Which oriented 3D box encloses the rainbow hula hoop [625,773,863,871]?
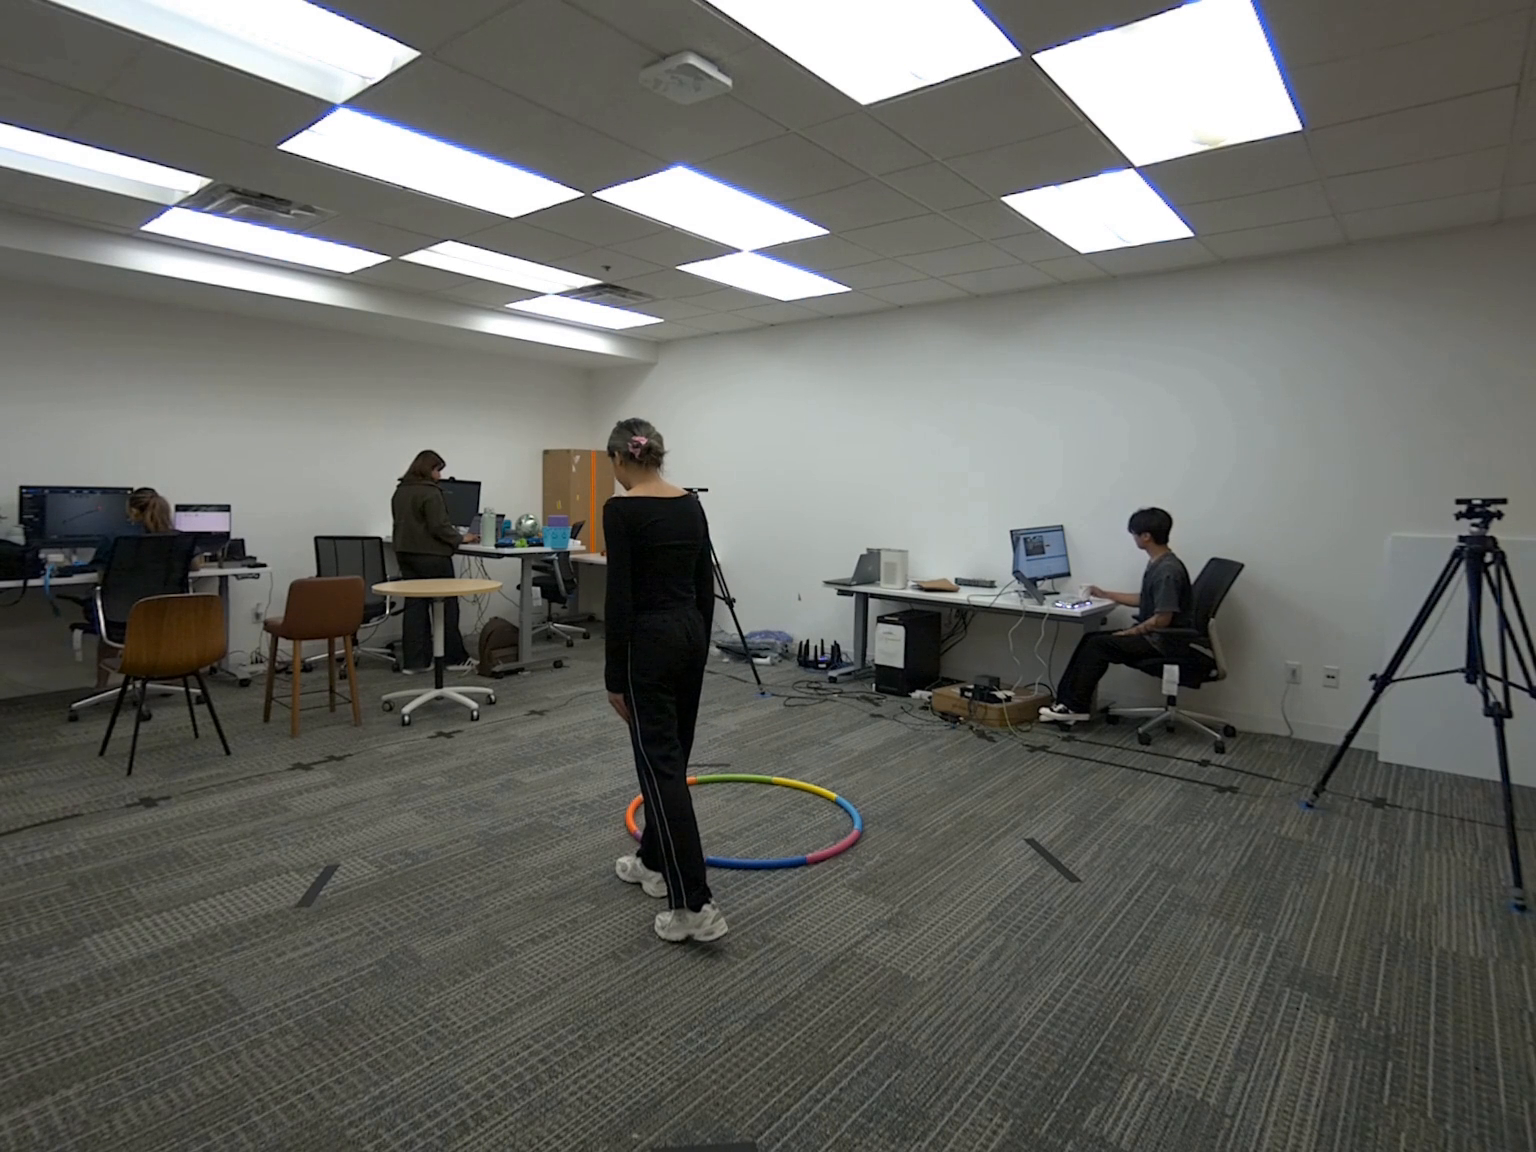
[{"bbox_3d":[-0.117,0.995,3.585,0.978,0.035,0.984,1,6,-2],"label":"rainbow hula hoop"}]
